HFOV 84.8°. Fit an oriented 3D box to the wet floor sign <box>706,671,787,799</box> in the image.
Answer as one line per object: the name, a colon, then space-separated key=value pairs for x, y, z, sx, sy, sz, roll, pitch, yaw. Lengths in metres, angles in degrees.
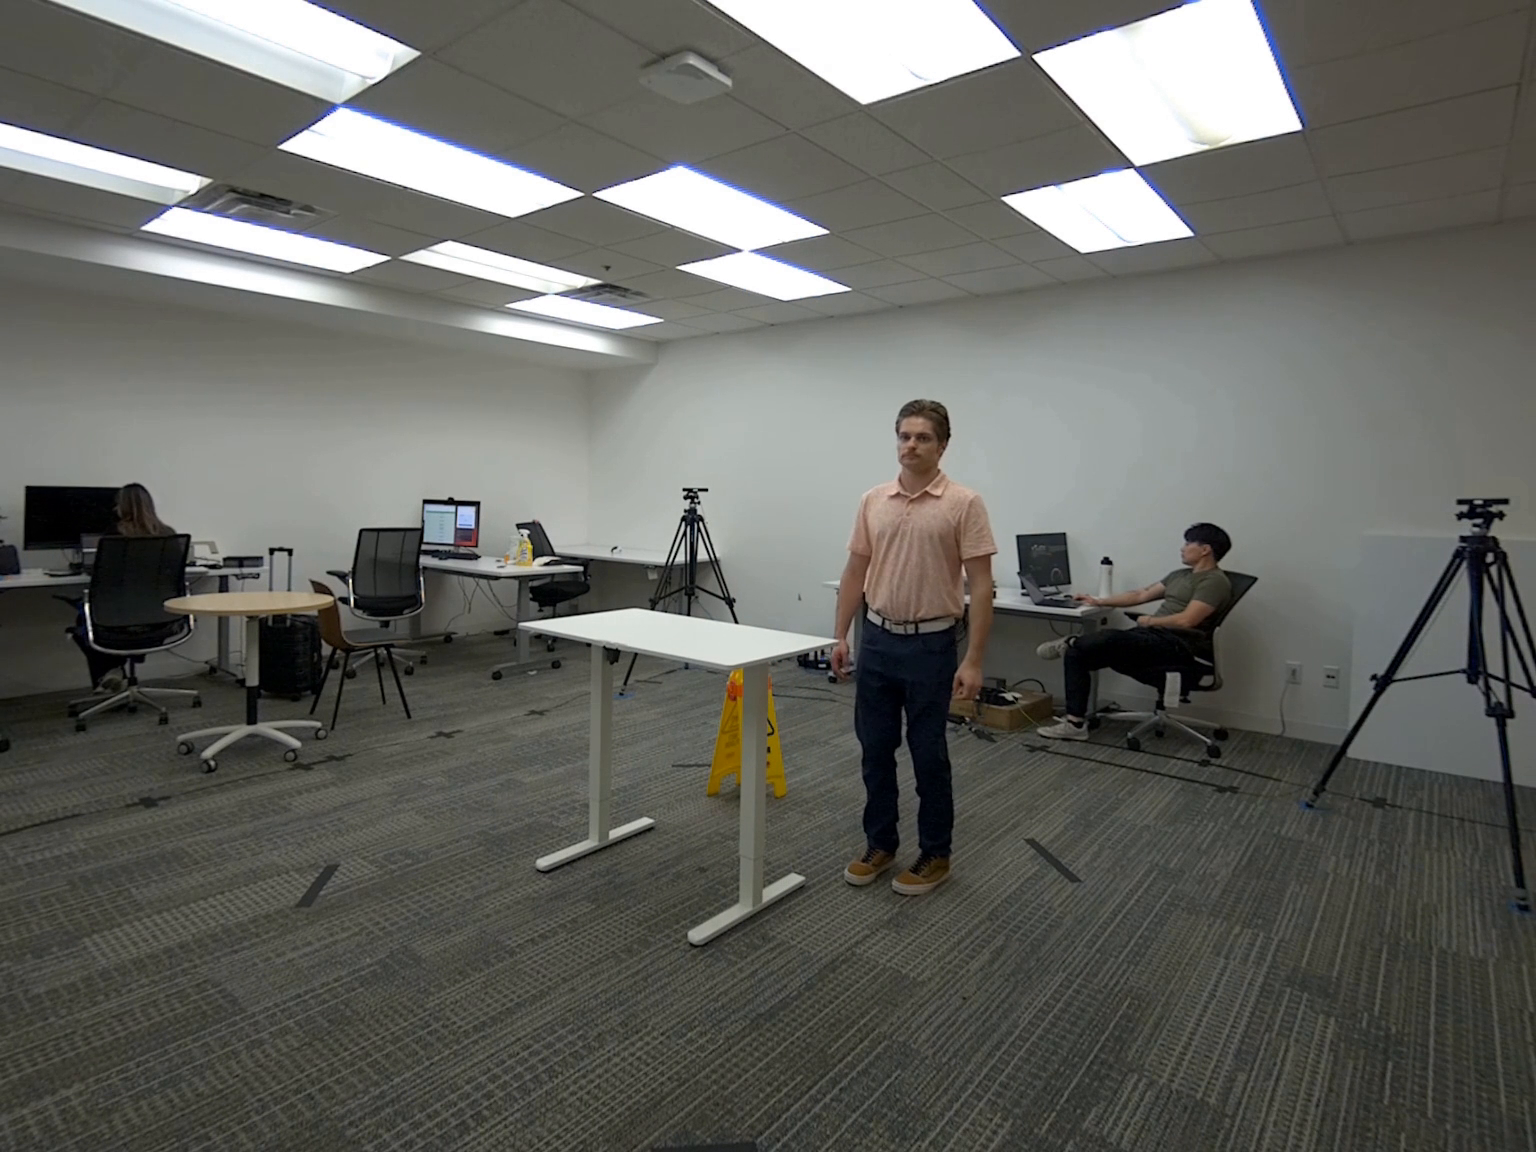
wet floor sign: x=-0.094 y=0.676 z=3.869 sx=0.299 sy=0.643 sz=0.274 roll=5 pitch=5 yaw=39
